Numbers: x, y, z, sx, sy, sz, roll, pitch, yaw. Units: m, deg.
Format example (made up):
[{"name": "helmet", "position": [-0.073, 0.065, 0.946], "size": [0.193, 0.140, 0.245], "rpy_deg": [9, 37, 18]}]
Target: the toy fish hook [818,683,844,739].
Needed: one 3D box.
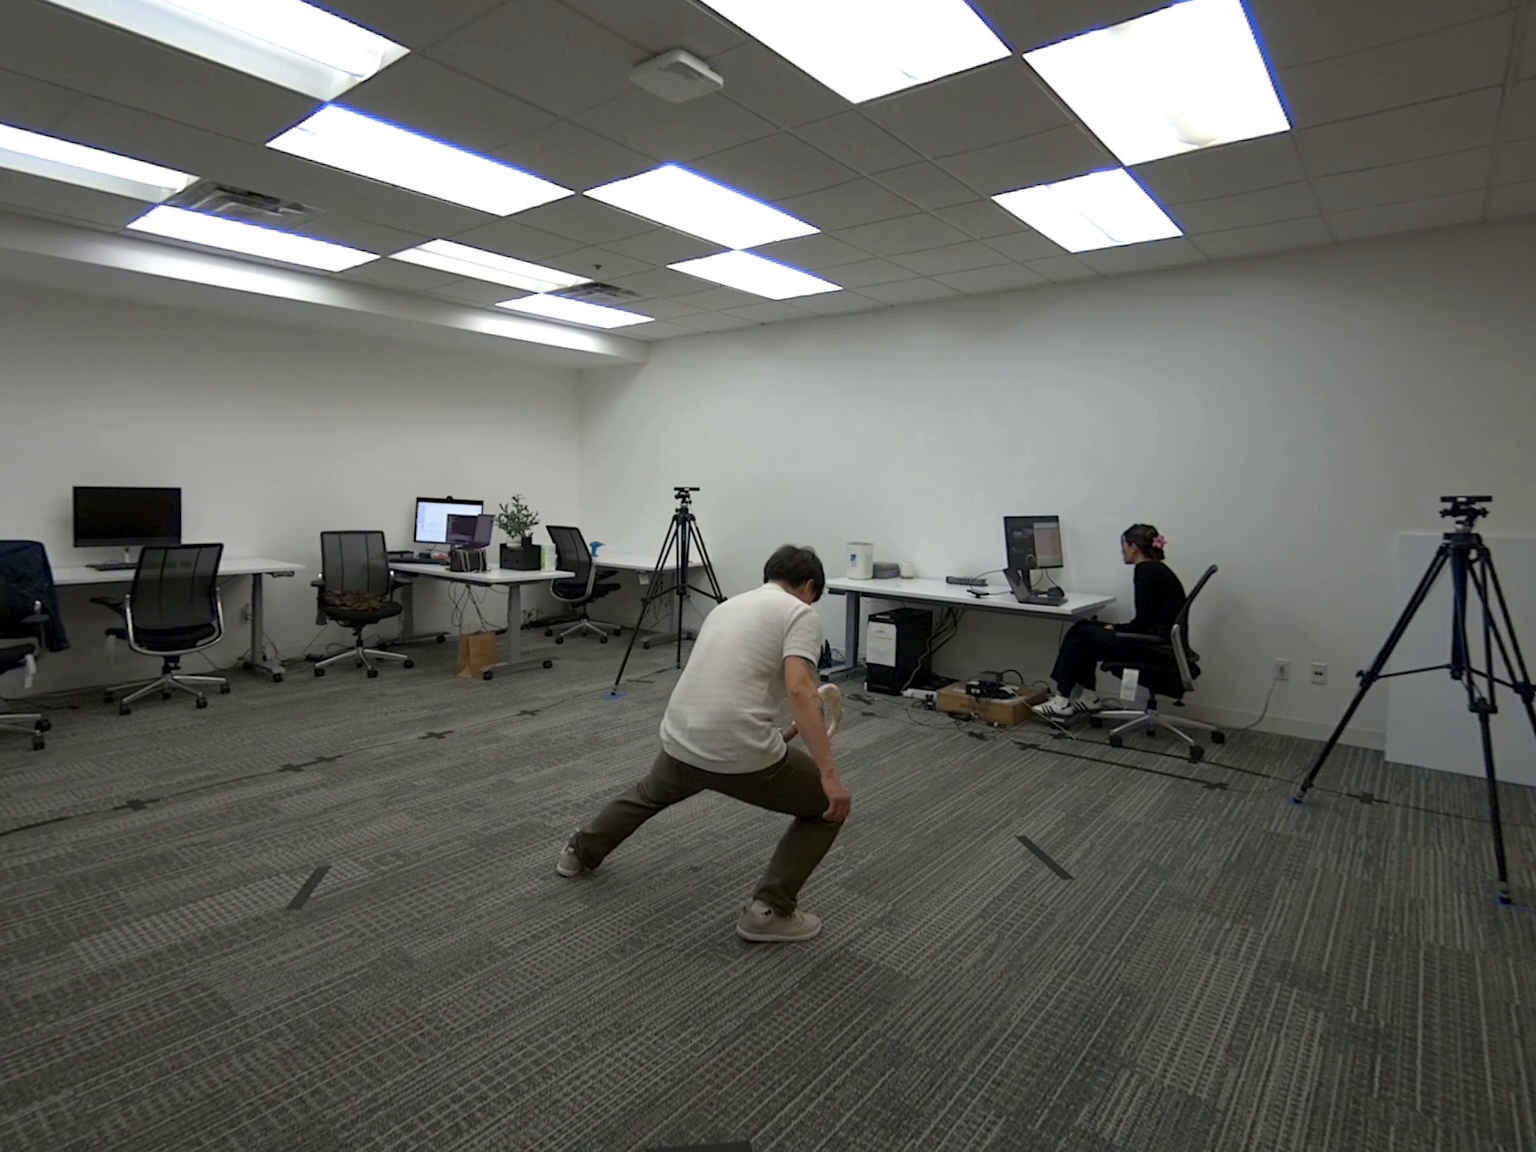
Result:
[{"name": "toy fish hook", "position": [0.136, 0.573, 3.162], "size": [0.050, 0.221, 0.500], "rpy_deg": [-4, 19, 43]}]
